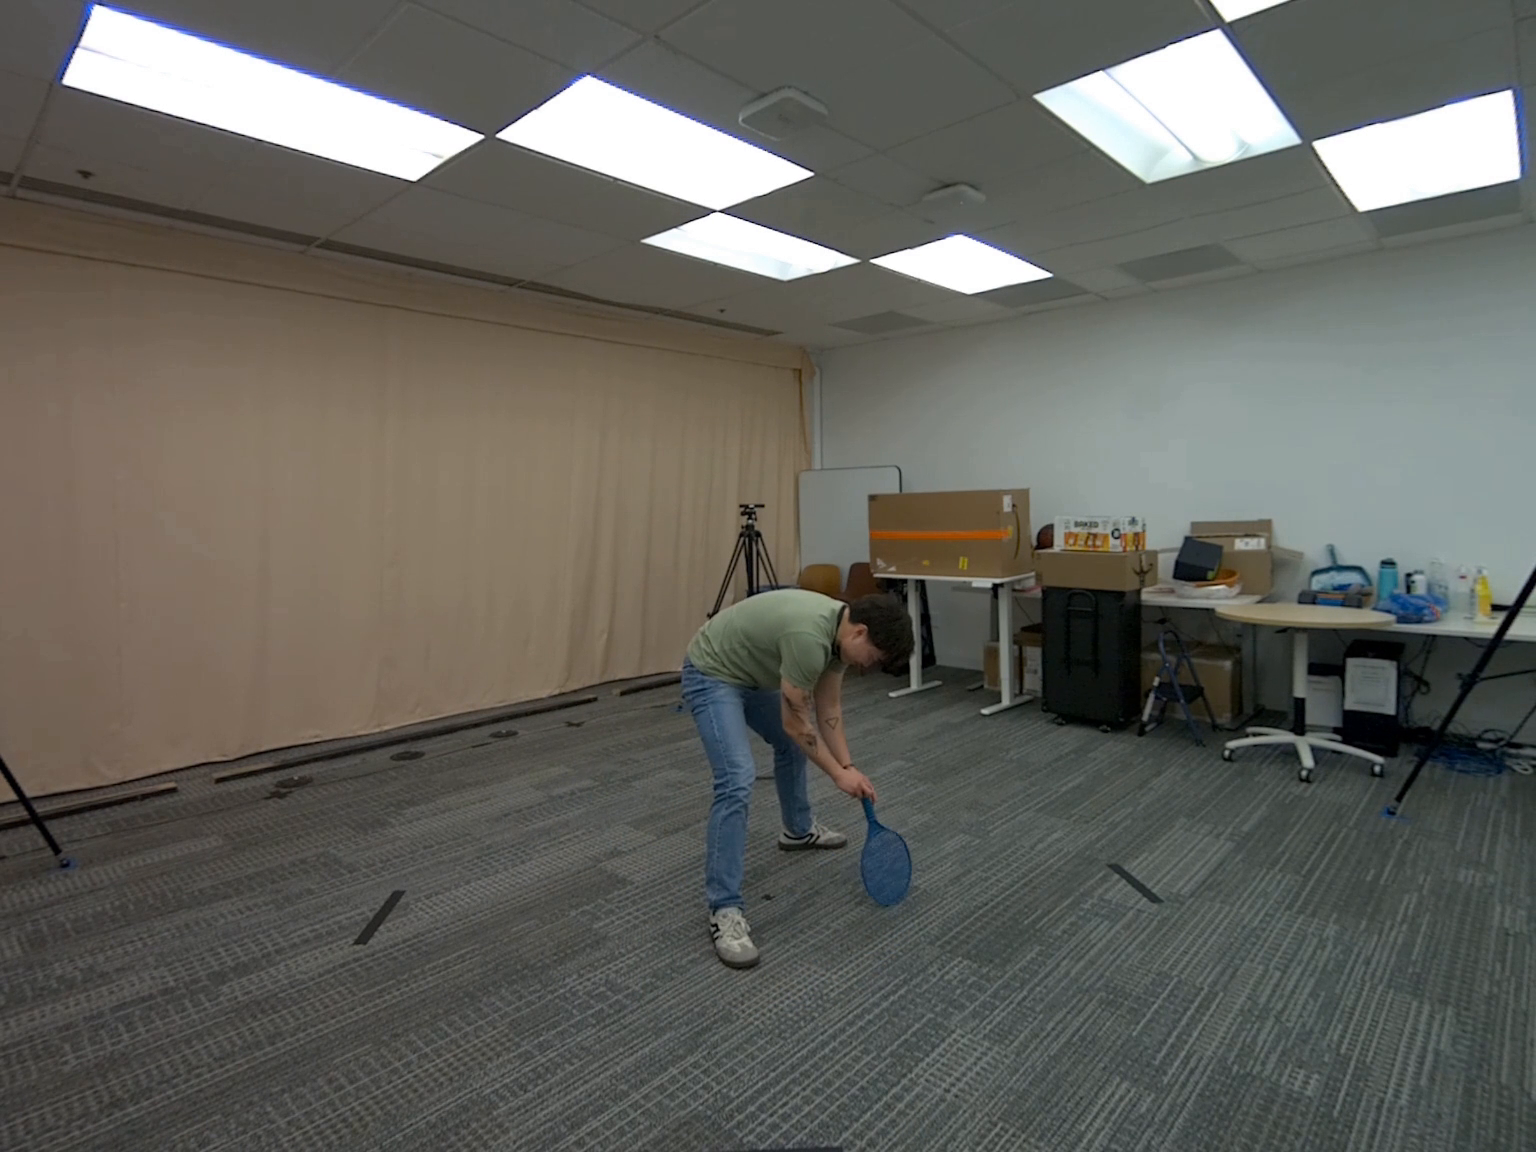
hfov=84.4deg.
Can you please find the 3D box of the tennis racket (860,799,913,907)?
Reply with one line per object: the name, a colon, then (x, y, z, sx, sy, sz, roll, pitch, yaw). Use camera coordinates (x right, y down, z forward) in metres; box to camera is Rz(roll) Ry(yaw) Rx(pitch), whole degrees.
tennis racket: (0.392, 0.929, 2.897, 0.210, 0.431, 0.032, -19, 4, -26)
